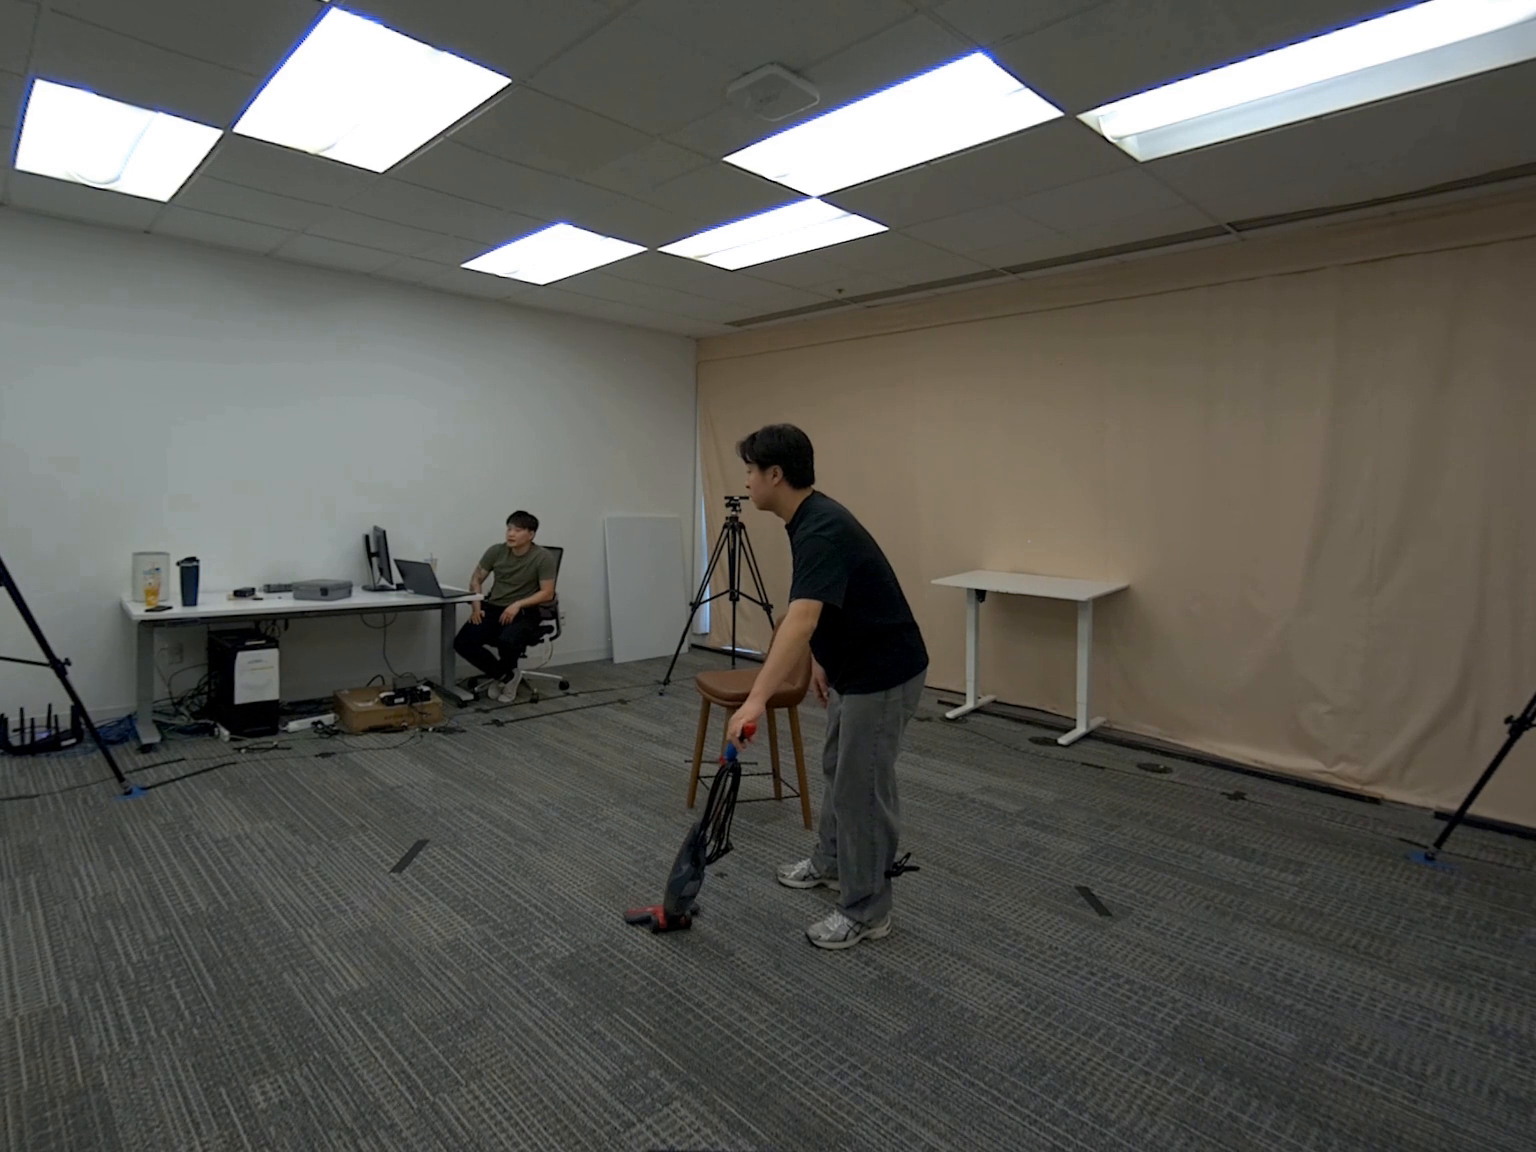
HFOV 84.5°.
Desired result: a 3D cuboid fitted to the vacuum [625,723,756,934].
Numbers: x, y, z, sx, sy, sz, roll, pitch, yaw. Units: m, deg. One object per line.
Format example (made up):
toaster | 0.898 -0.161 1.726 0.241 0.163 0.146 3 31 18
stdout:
vacuum | -0.190 0.760 2.429 0.248 1.036 0.148 0 44 -25
